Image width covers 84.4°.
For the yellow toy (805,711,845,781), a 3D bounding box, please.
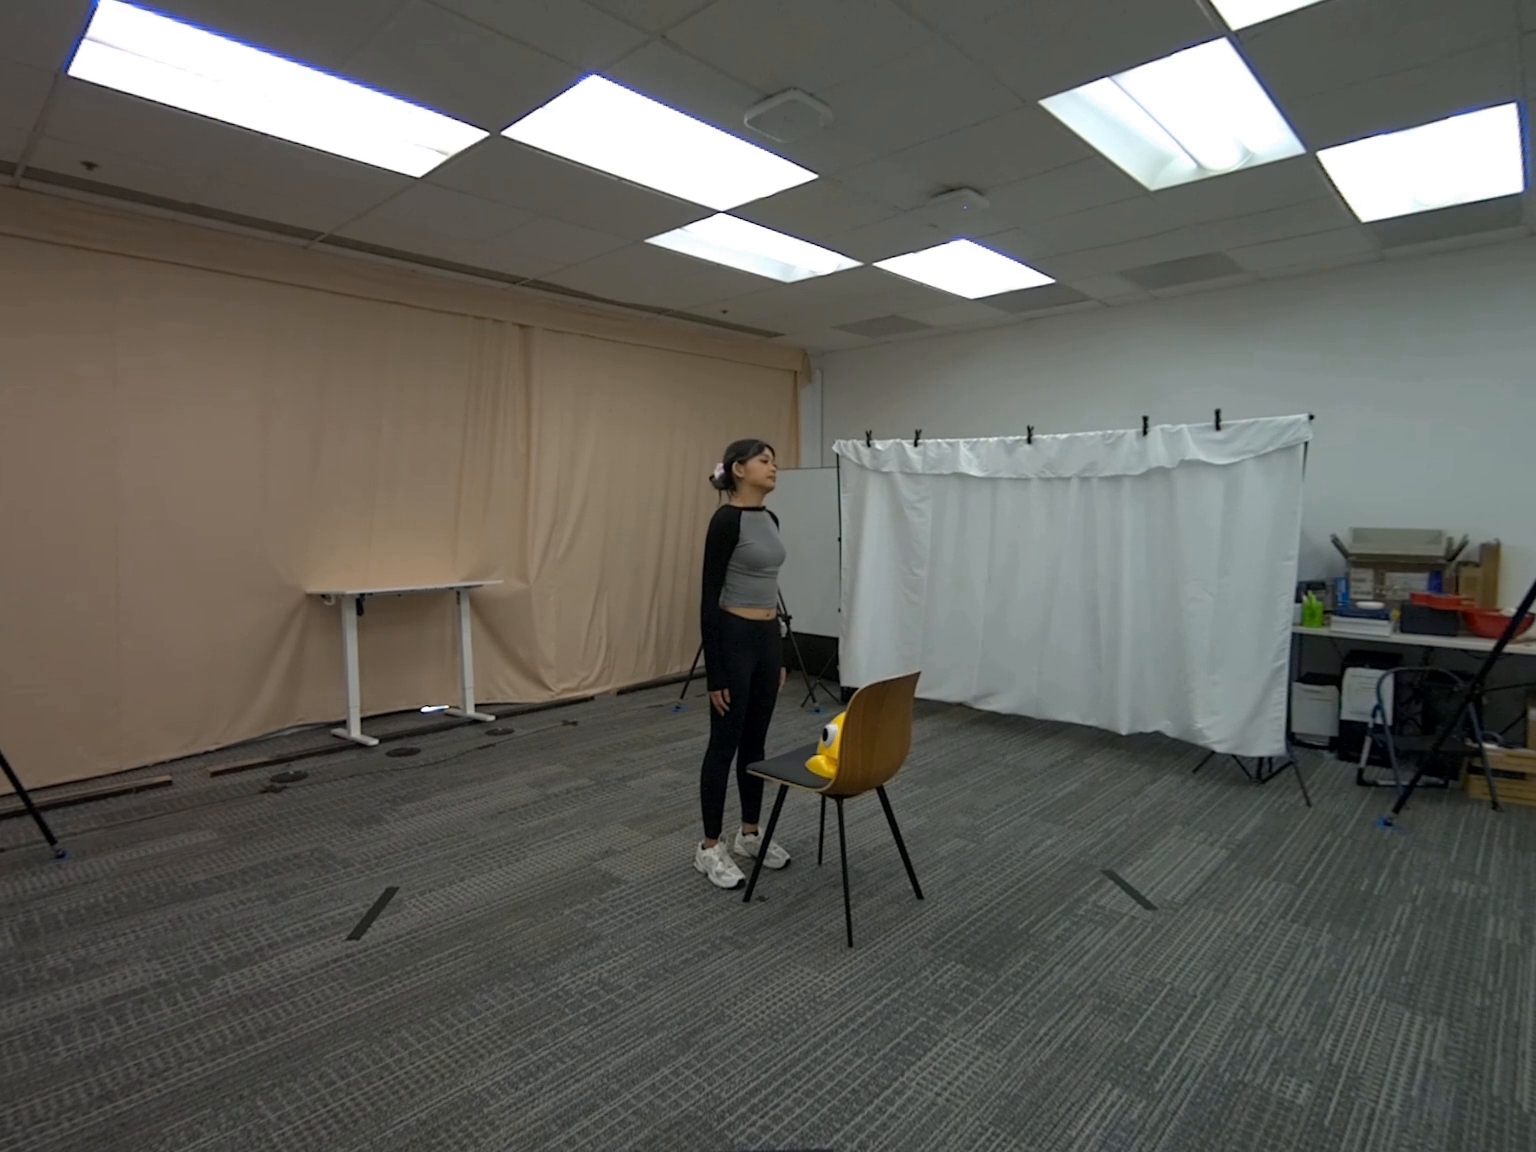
[{"bbox_3d":[0.254,0.562,2.924,0.198,0.230,0.200,-5,11,-45],"label":"yellow toy"}]
